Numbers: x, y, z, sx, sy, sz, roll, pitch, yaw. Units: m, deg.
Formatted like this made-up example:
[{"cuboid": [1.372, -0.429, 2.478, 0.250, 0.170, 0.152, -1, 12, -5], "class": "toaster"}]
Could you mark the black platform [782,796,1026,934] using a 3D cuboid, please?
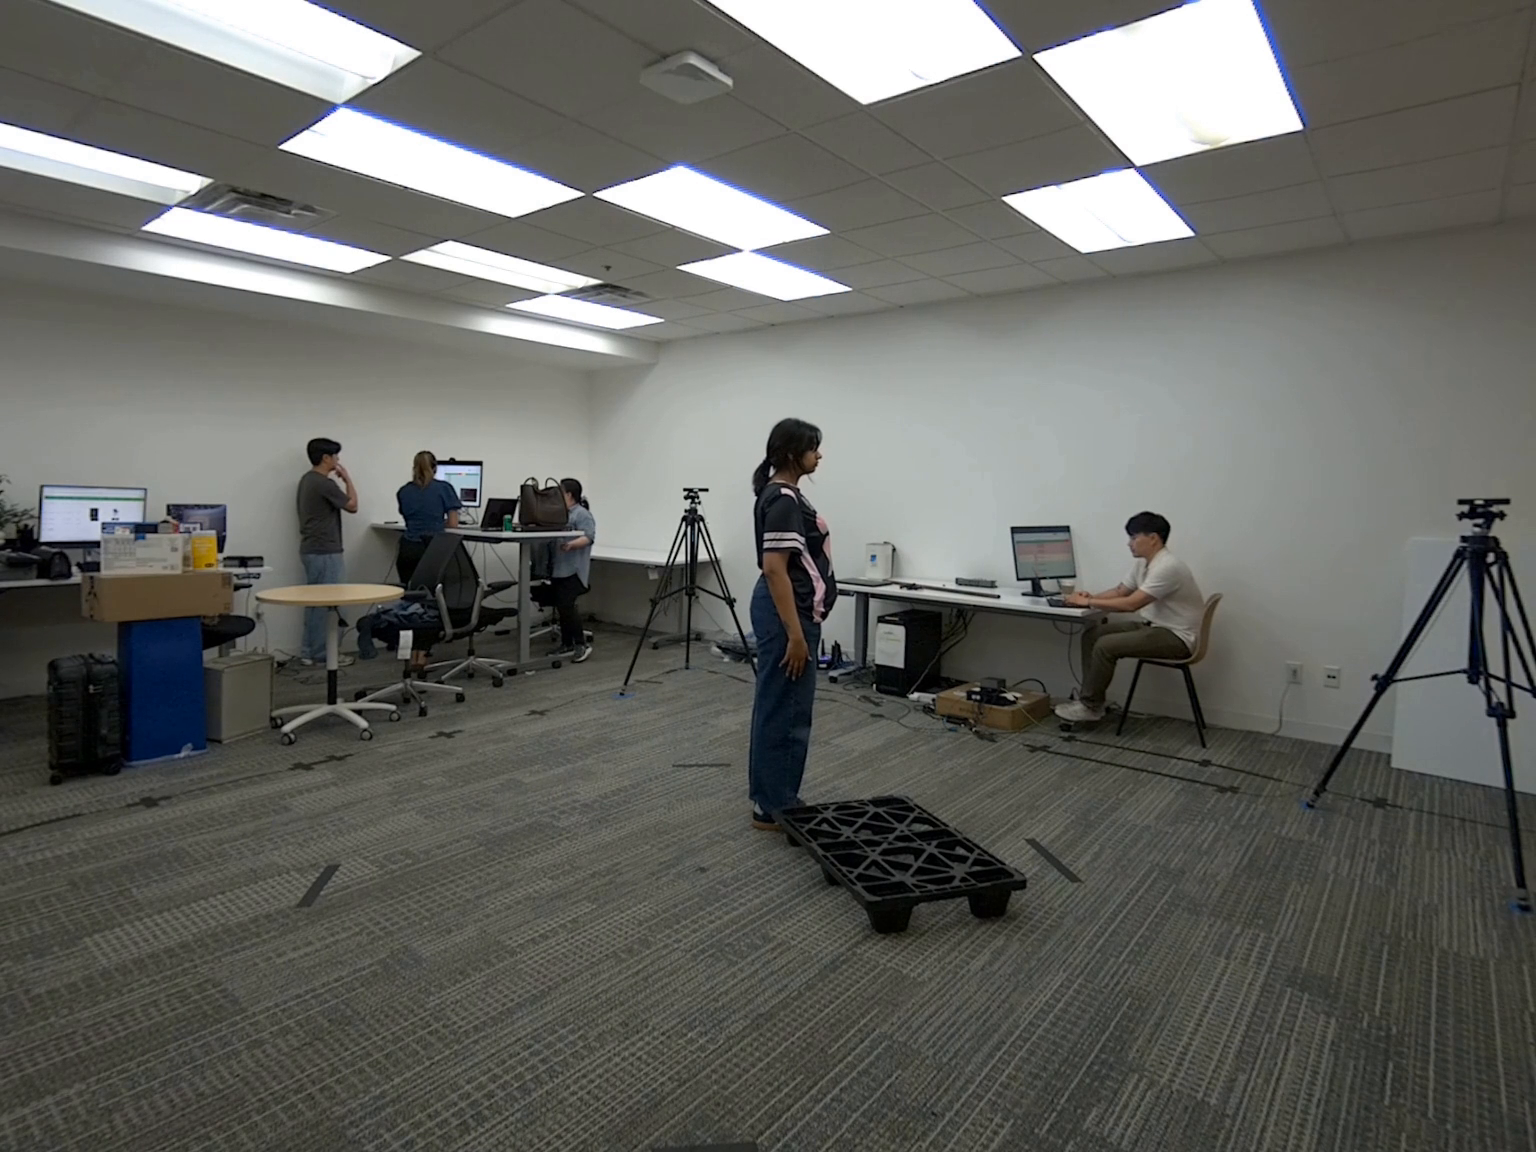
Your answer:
[{"cuboid": [0.429, 1.019, 3.085, 0.593, 0.143, 0.825, -1, 6, -20], "class": "black platform"}]
